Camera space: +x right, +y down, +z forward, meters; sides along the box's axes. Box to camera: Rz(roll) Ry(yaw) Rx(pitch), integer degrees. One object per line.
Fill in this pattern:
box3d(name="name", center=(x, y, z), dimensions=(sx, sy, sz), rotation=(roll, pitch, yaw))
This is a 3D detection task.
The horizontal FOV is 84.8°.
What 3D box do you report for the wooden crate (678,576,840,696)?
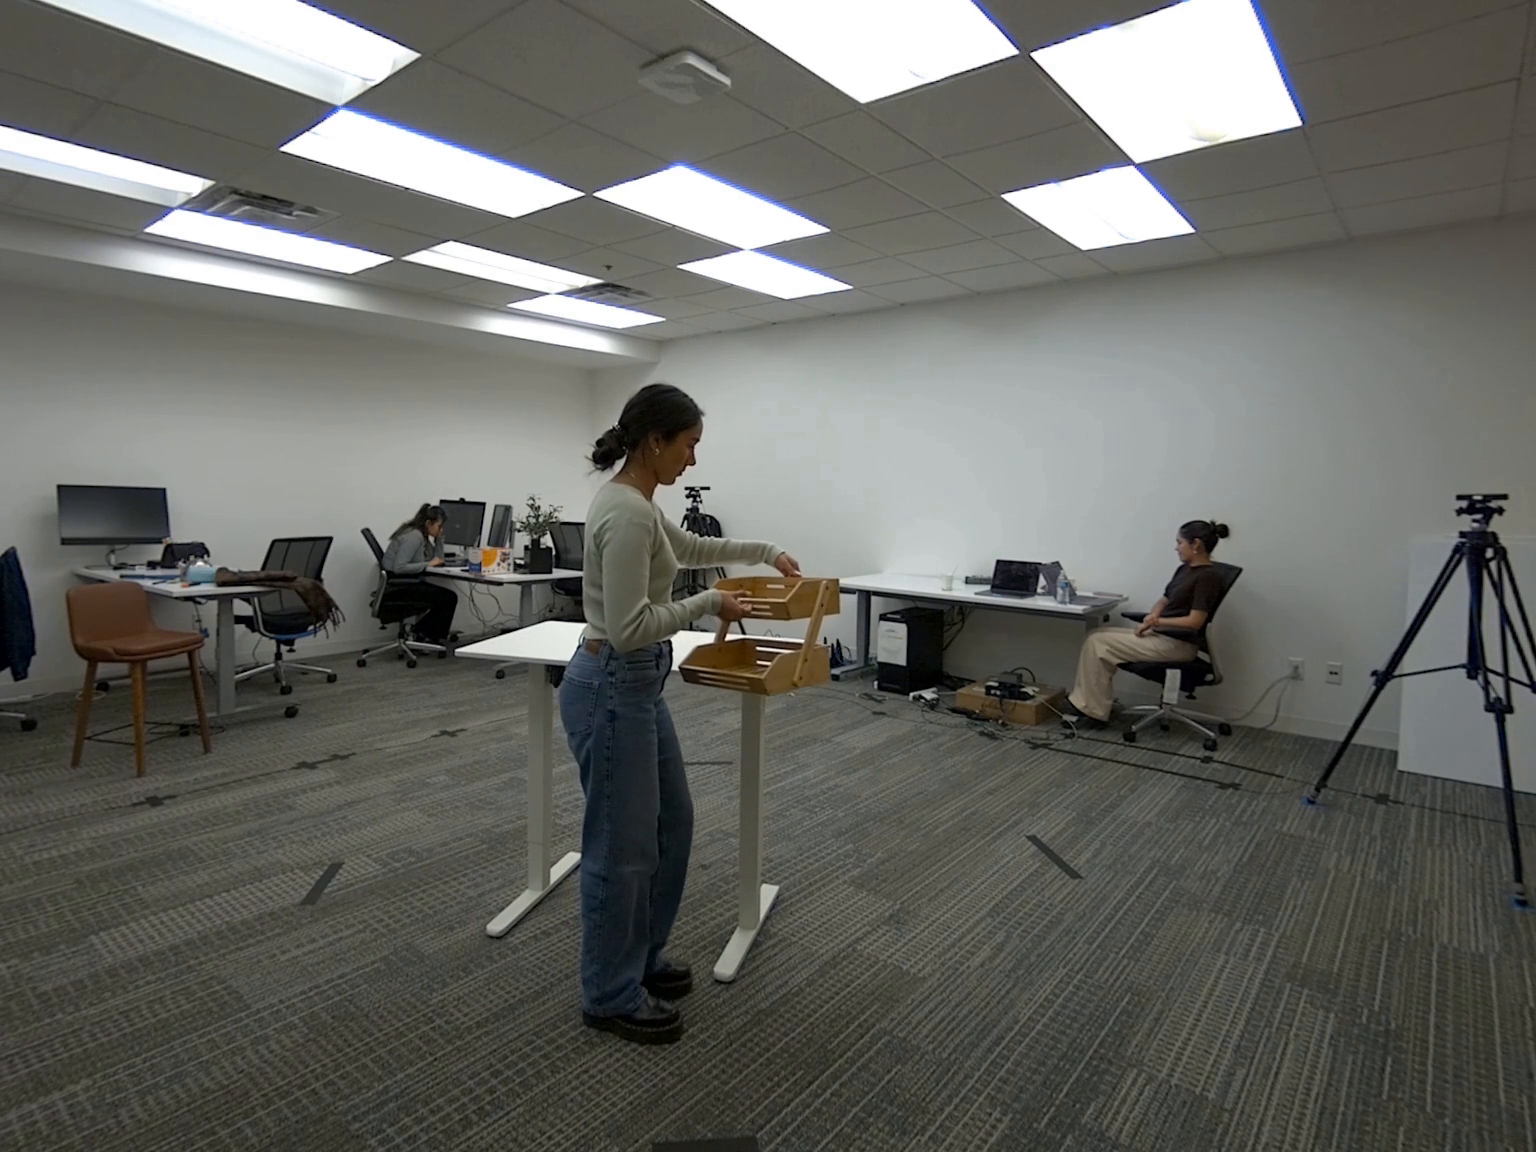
box3d(name="wooden crate", center=(-0.032, 0.142, 2.198), dimensions=(0.335, 0.273, 0.293), rotation=(1, 3, 44))
